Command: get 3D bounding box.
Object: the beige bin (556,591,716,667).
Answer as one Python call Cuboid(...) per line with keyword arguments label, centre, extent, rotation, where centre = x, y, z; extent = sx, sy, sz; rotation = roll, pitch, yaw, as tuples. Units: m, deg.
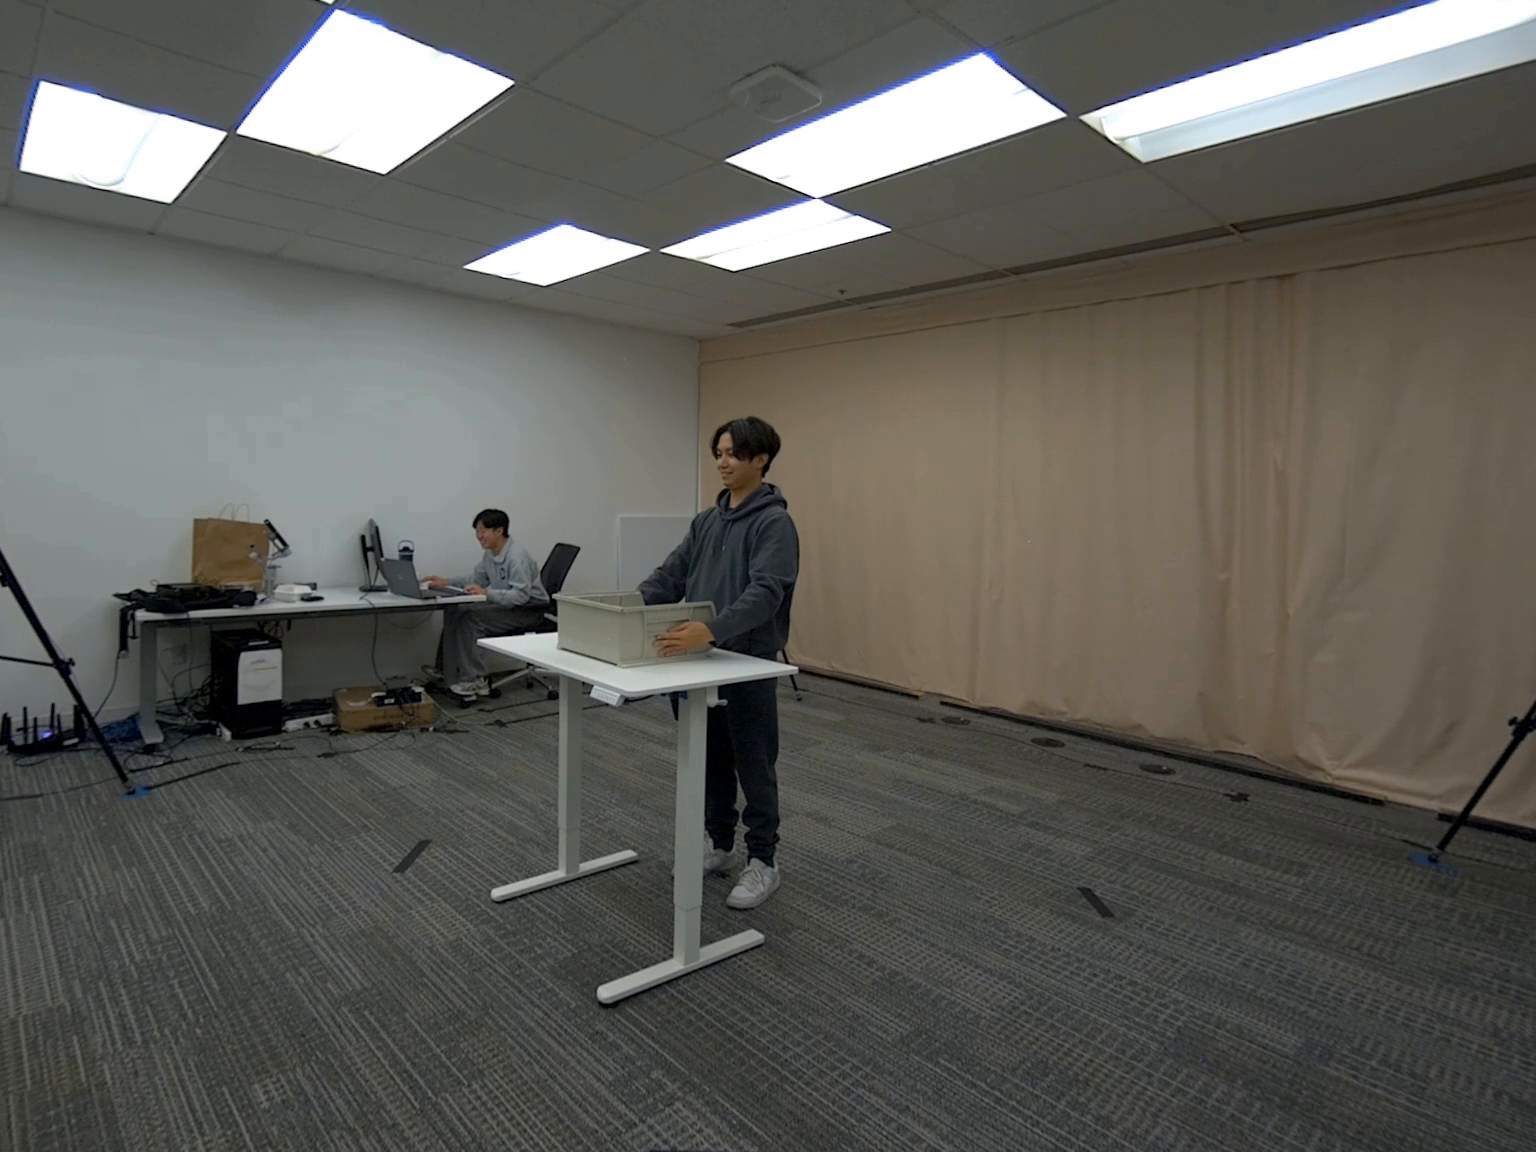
Cuboid(label="beige bin", centre=(-0.445, 0.166, 2.716), extent=(0.369, 0.188, 0.433), rotation=(-3, 6, -41))
